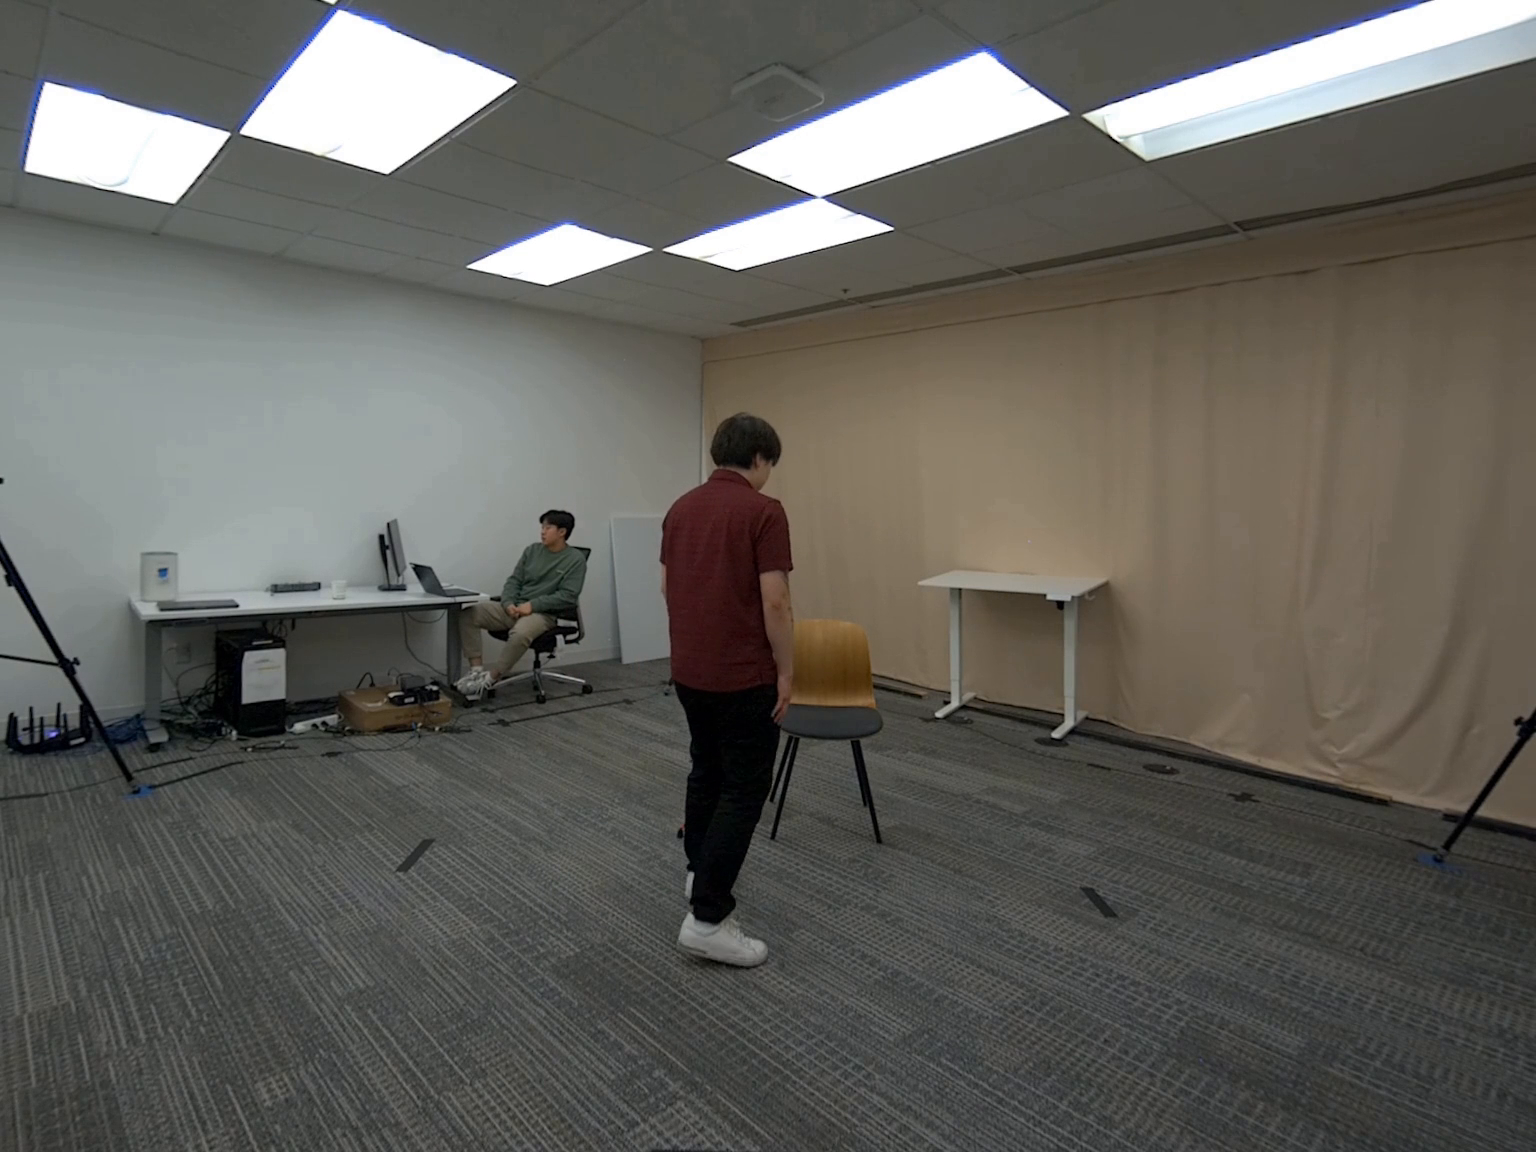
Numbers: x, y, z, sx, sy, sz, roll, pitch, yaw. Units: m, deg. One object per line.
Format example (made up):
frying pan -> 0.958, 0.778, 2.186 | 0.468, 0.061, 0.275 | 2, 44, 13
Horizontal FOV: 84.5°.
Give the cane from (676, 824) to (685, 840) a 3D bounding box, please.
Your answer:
cane -> -0.264, 0.624, 3.357 | 0.149, 0.906, 0.210 | 1, 3, -23
